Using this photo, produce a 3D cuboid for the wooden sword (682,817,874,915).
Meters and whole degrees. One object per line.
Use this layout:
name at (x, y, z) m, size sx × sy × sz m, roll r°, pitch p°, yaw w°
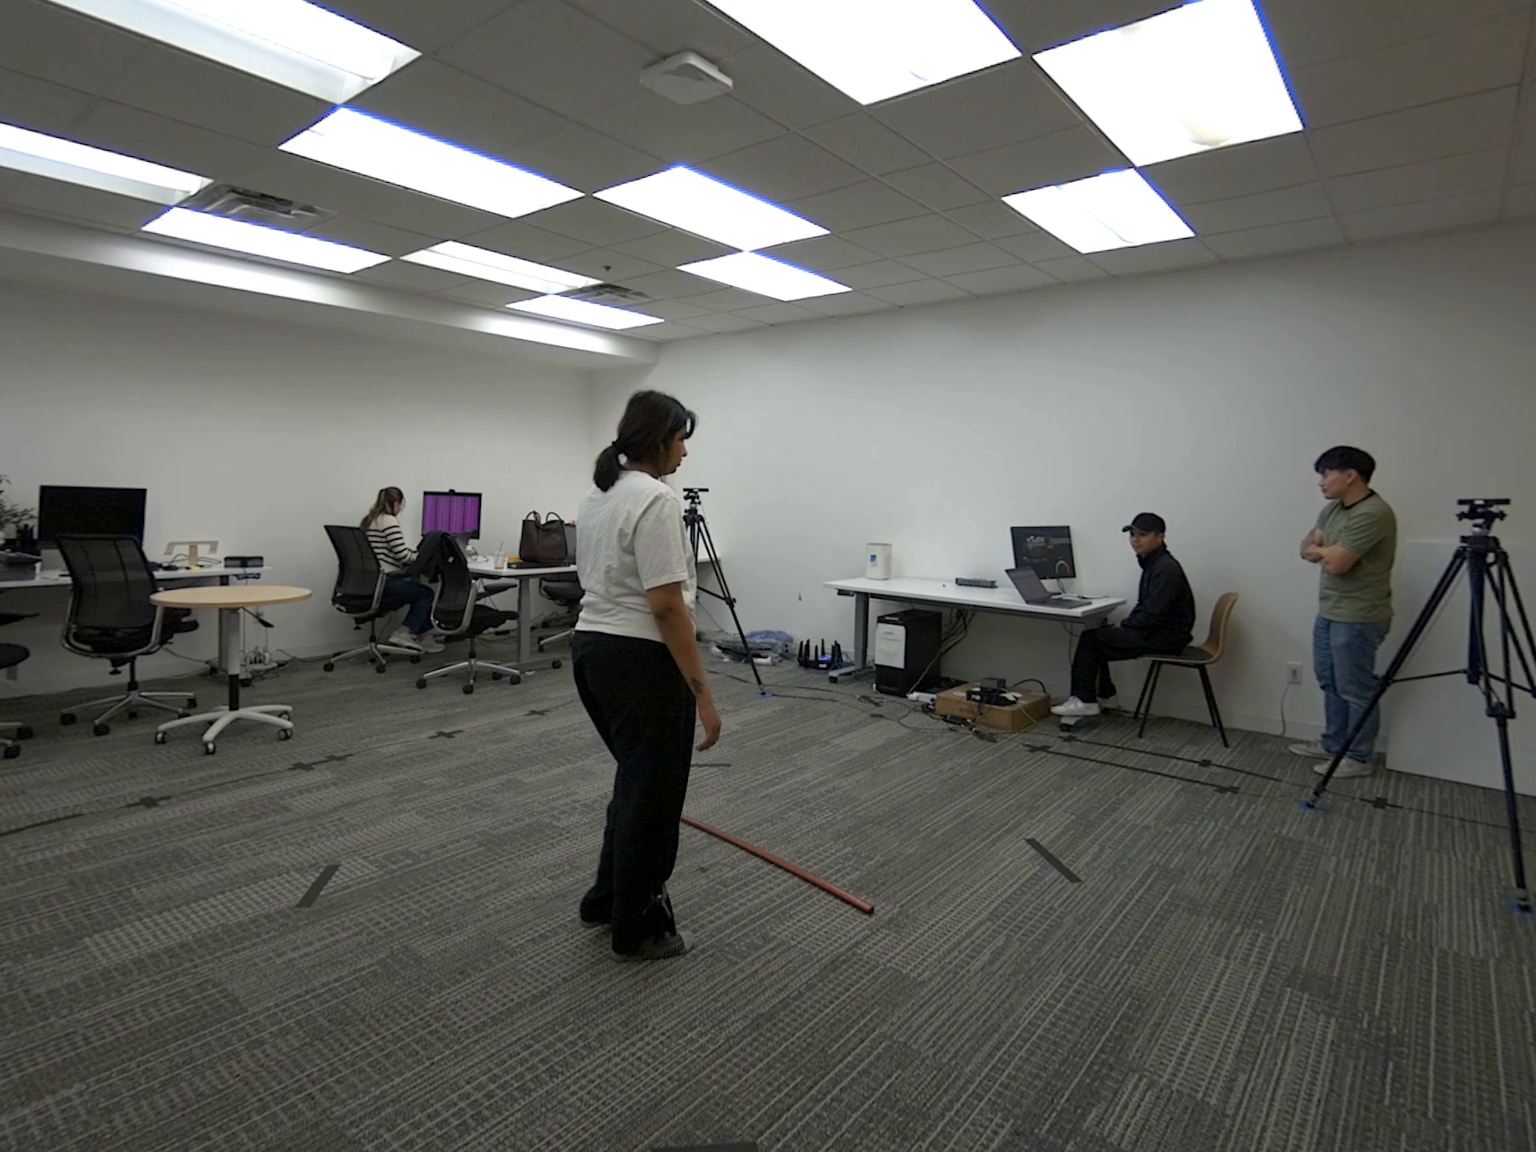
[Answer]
wooden sword at (-0.025, 1.044, 3.188) m, size 0.050 × 0.024 × 1.060 m, roll -22°, pitch 20°, yaw -39°
